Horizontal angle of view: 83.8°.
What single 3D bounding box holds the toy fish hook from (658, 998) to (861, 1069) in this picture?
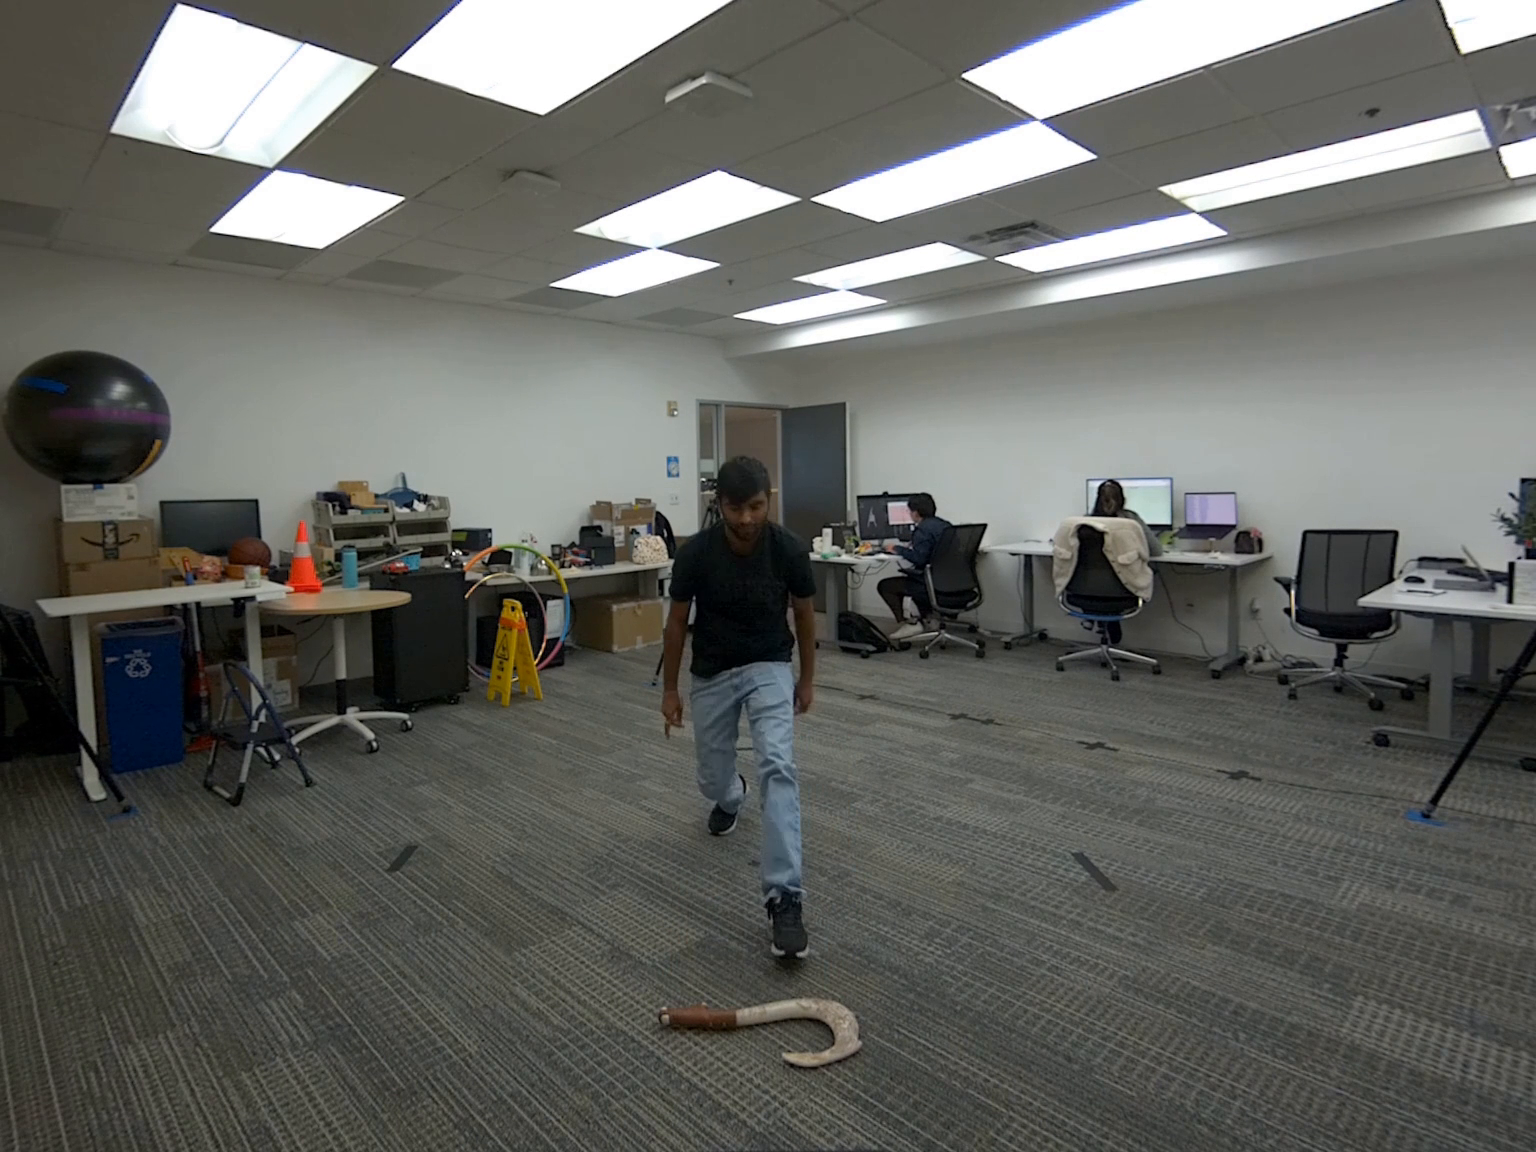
[{"bbox_3d":[-0.020,1.139,2.132,0.507,0.048,0.225,-1,6,1],"label":"toy fish hook"}]
